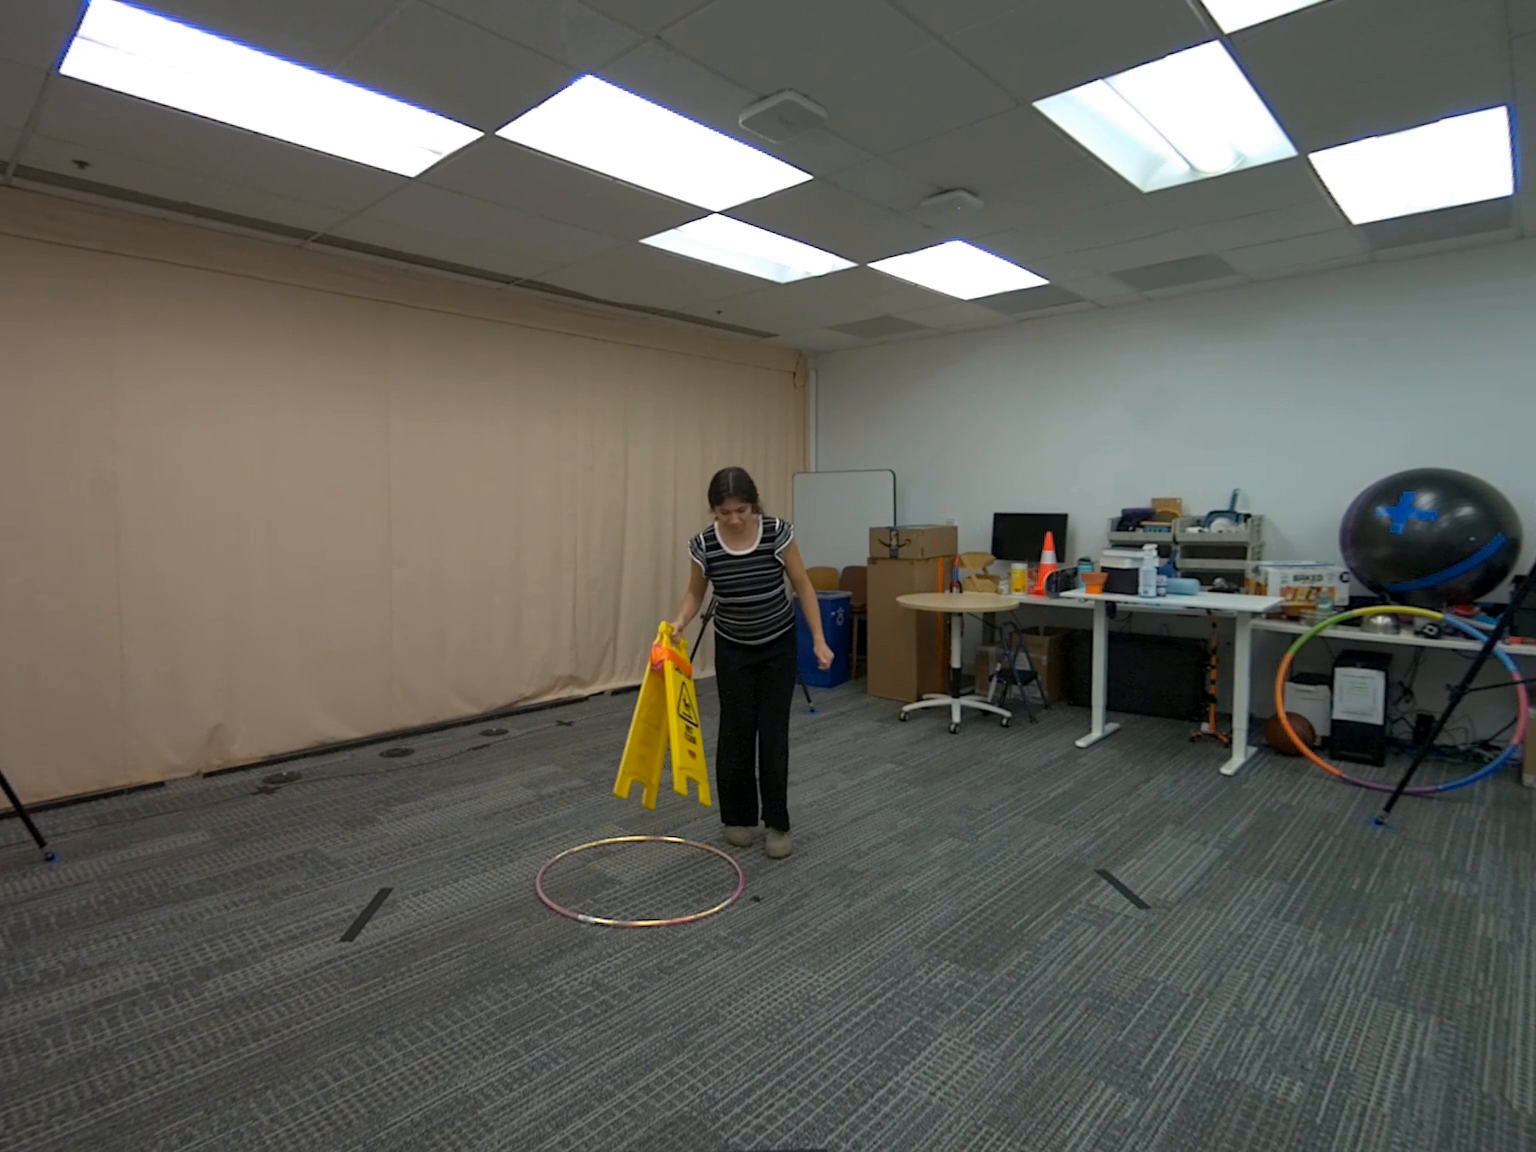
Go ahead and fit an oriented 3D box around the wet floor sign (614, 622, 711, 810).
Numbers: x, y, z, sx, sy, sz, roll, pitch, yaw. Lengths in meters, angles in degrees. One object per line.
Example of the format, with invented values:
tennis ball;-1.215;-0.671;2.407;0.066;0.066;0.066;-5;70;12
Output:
wet floor sign;-0.367;0.507;3.129;0.295;0.655;0.273;-9;-27;19
